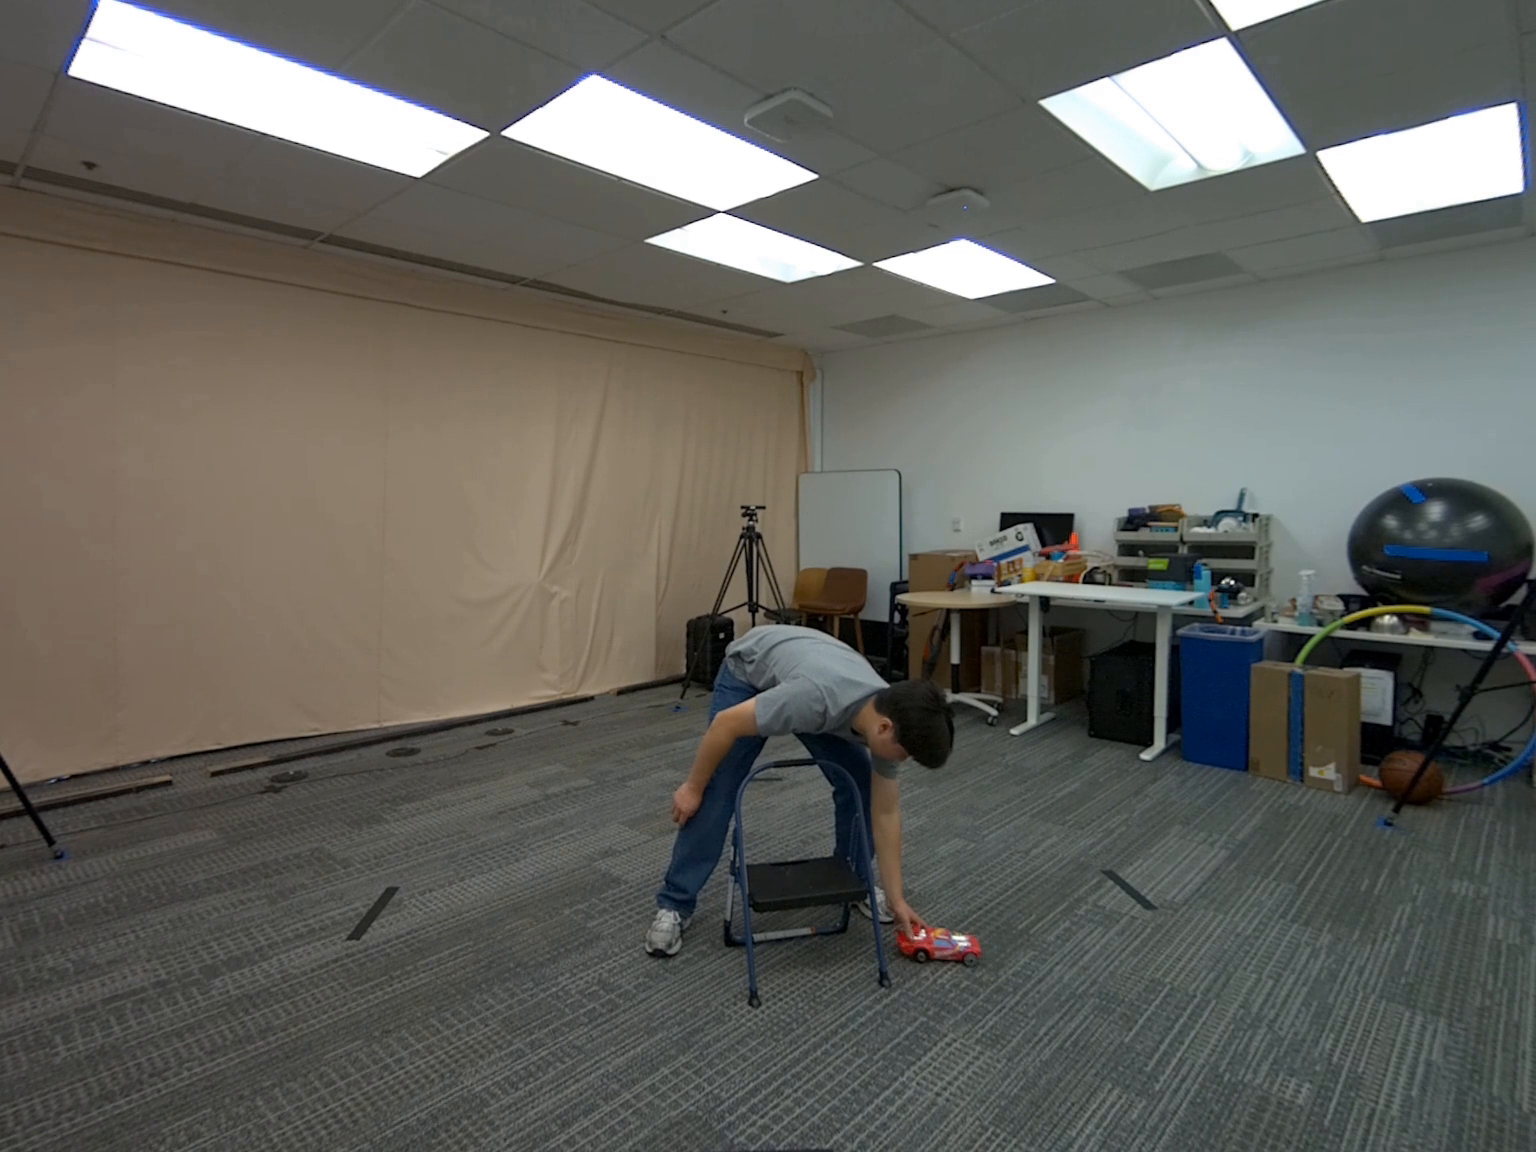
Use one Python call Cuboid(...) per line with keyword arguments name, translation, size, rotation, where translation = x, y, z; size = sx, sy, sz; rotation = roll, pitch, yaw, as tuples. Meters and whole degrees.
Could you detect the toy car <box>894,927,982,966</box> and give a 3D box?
Cuboid(name="toy car", translation=(0.518, 1.147, 2.593), size=(0.257, 0.083, 0.129), rotation=(10, 6, 7))
